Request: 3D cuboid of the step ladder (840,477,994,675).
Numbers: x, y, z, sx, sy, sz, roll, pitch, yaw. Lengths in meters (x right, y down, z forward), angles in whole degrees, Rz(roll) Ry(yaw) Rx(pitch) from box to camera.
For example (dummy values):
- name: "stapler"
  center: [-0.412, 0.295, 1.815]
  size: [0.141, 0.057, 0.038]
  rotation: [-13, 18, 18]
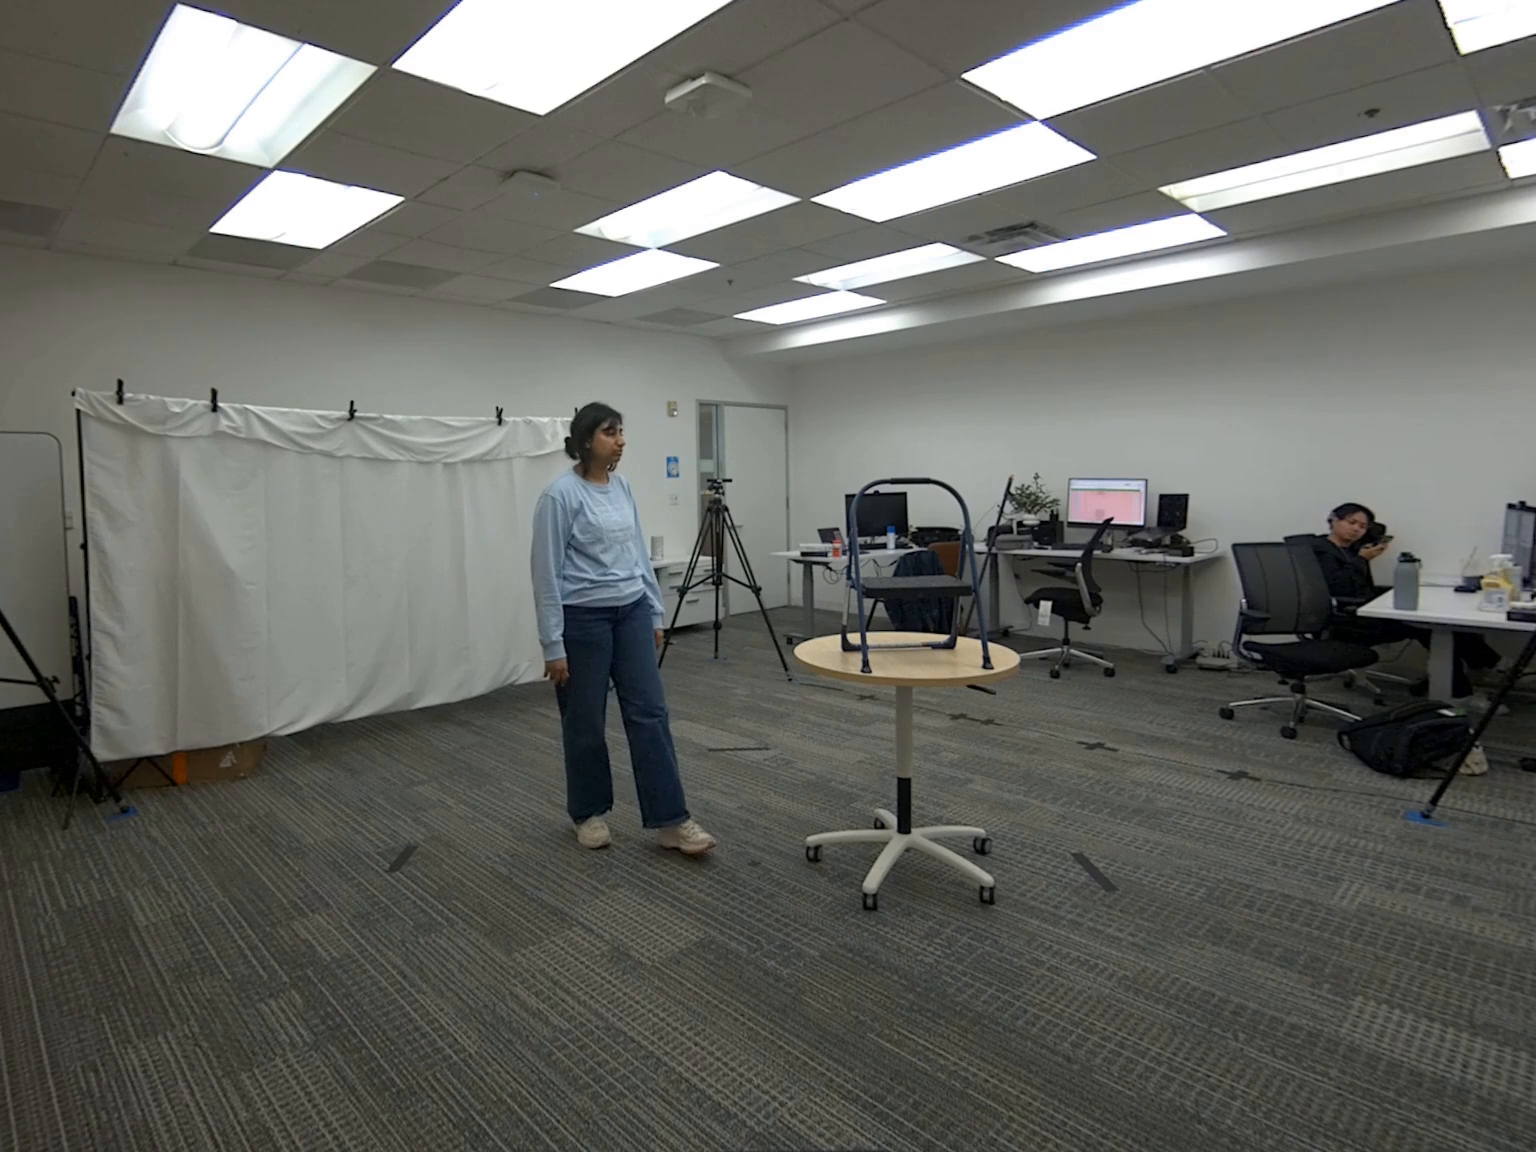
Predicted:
- name: "step ladder"
  center: [0.486, -0.021, 2.844]
  size: [0.428, 0.603, 0.353]
  rotation: [-1, 5, -7]
